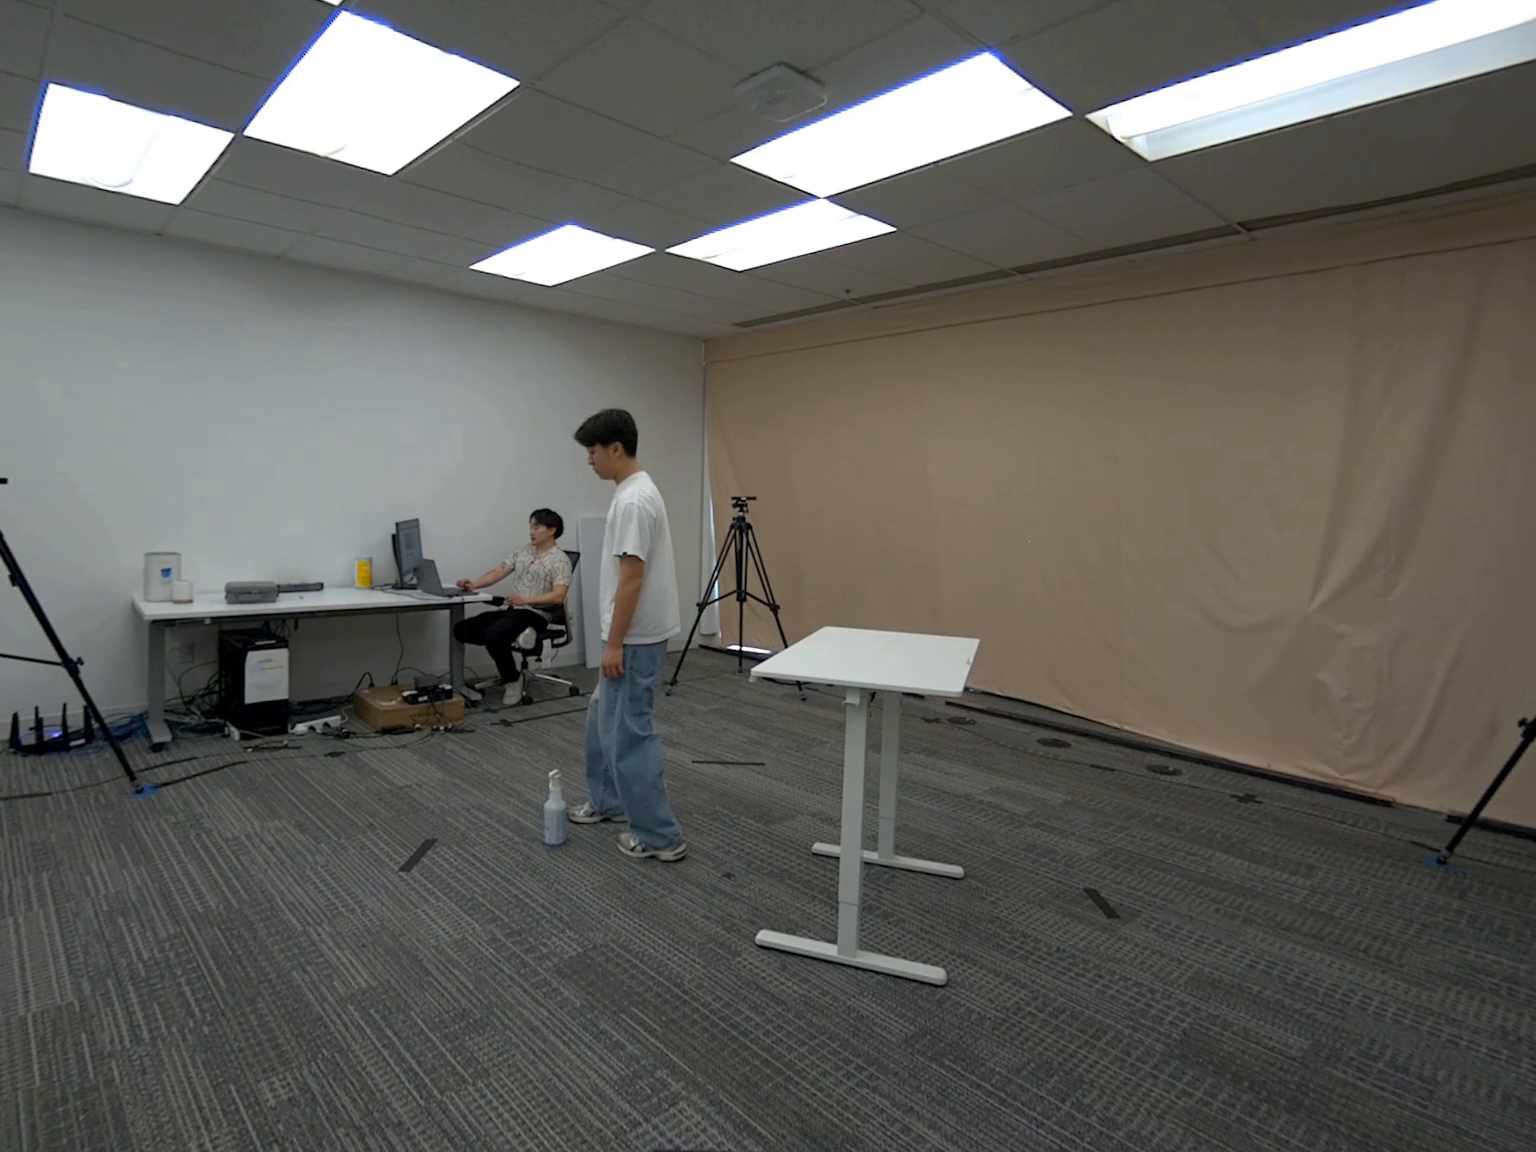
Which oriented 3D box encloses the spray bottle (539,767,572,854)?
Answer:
[{"bbox_3d":[-0.842,0.924,3.348,0.089,0.296,0.088,6,7,37],"label":"spray bottle"}]
